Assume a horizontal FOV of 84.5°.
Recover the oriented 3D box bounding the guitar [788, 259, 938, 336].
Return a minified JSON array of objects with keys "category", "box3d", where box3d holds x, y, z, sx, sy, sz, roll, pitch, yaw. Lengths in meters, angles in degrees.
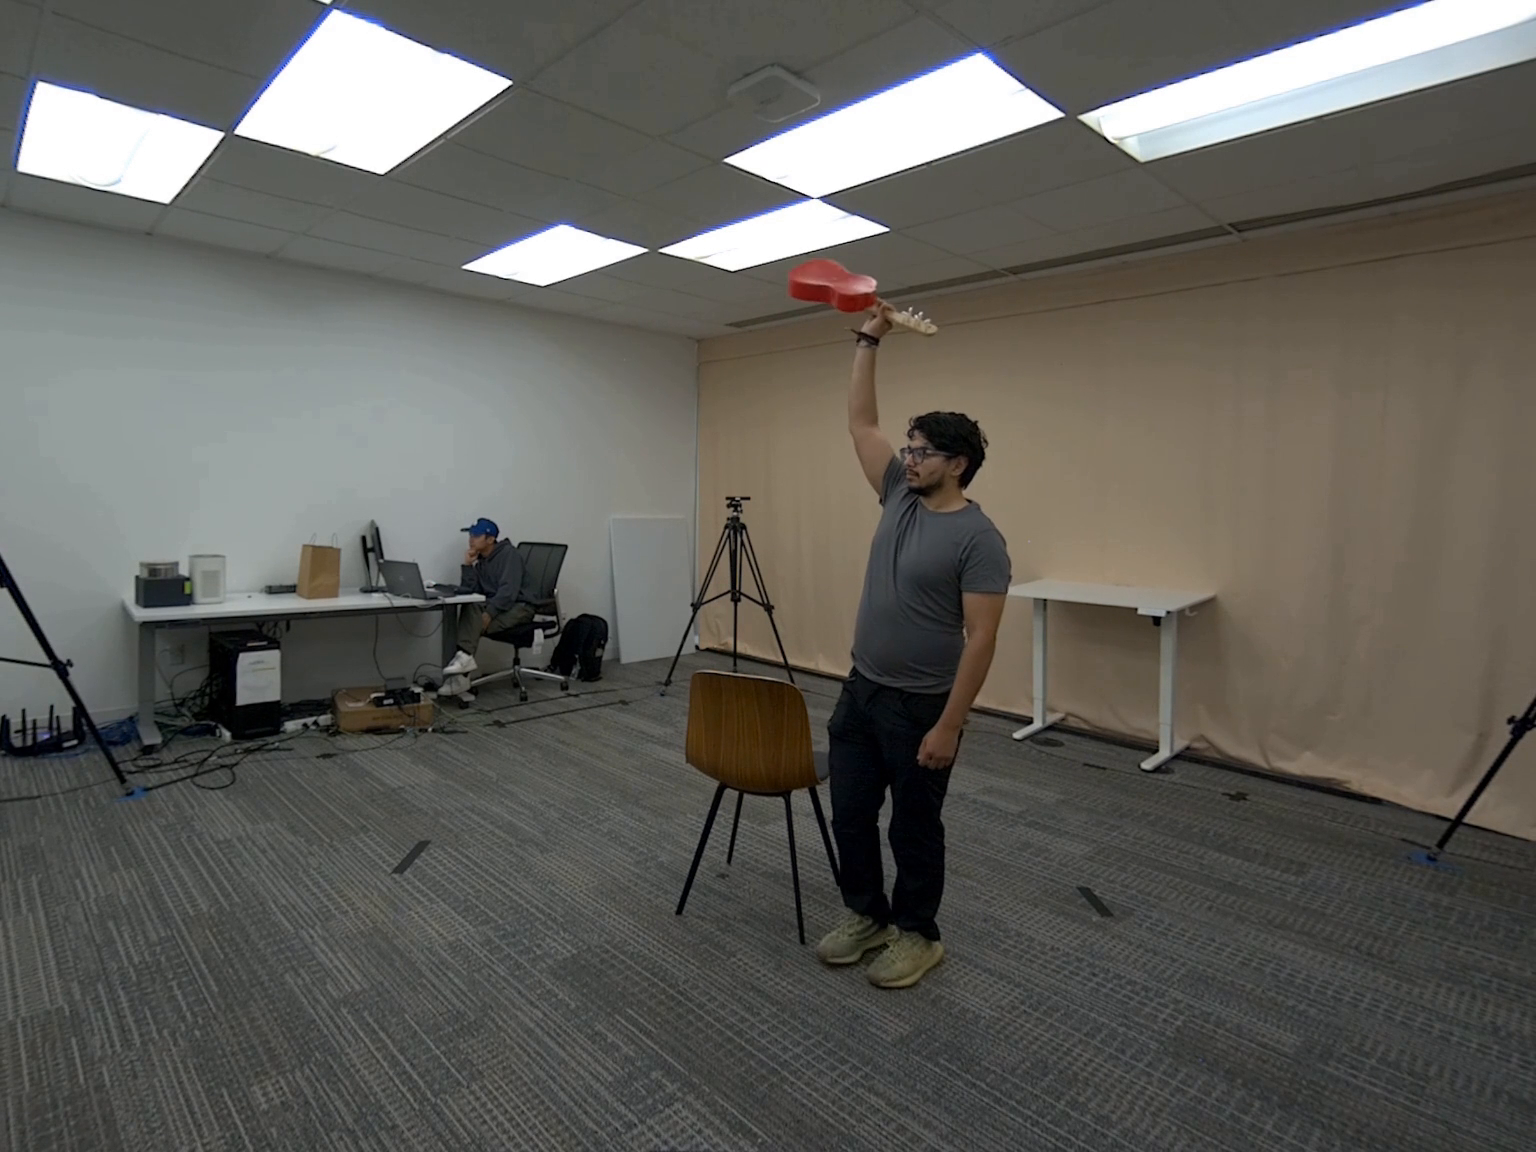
[{"category":"guitar","box3d":[0.286,-0.838,2.545,0.509,0.069,0.193,25,47,23]}]
